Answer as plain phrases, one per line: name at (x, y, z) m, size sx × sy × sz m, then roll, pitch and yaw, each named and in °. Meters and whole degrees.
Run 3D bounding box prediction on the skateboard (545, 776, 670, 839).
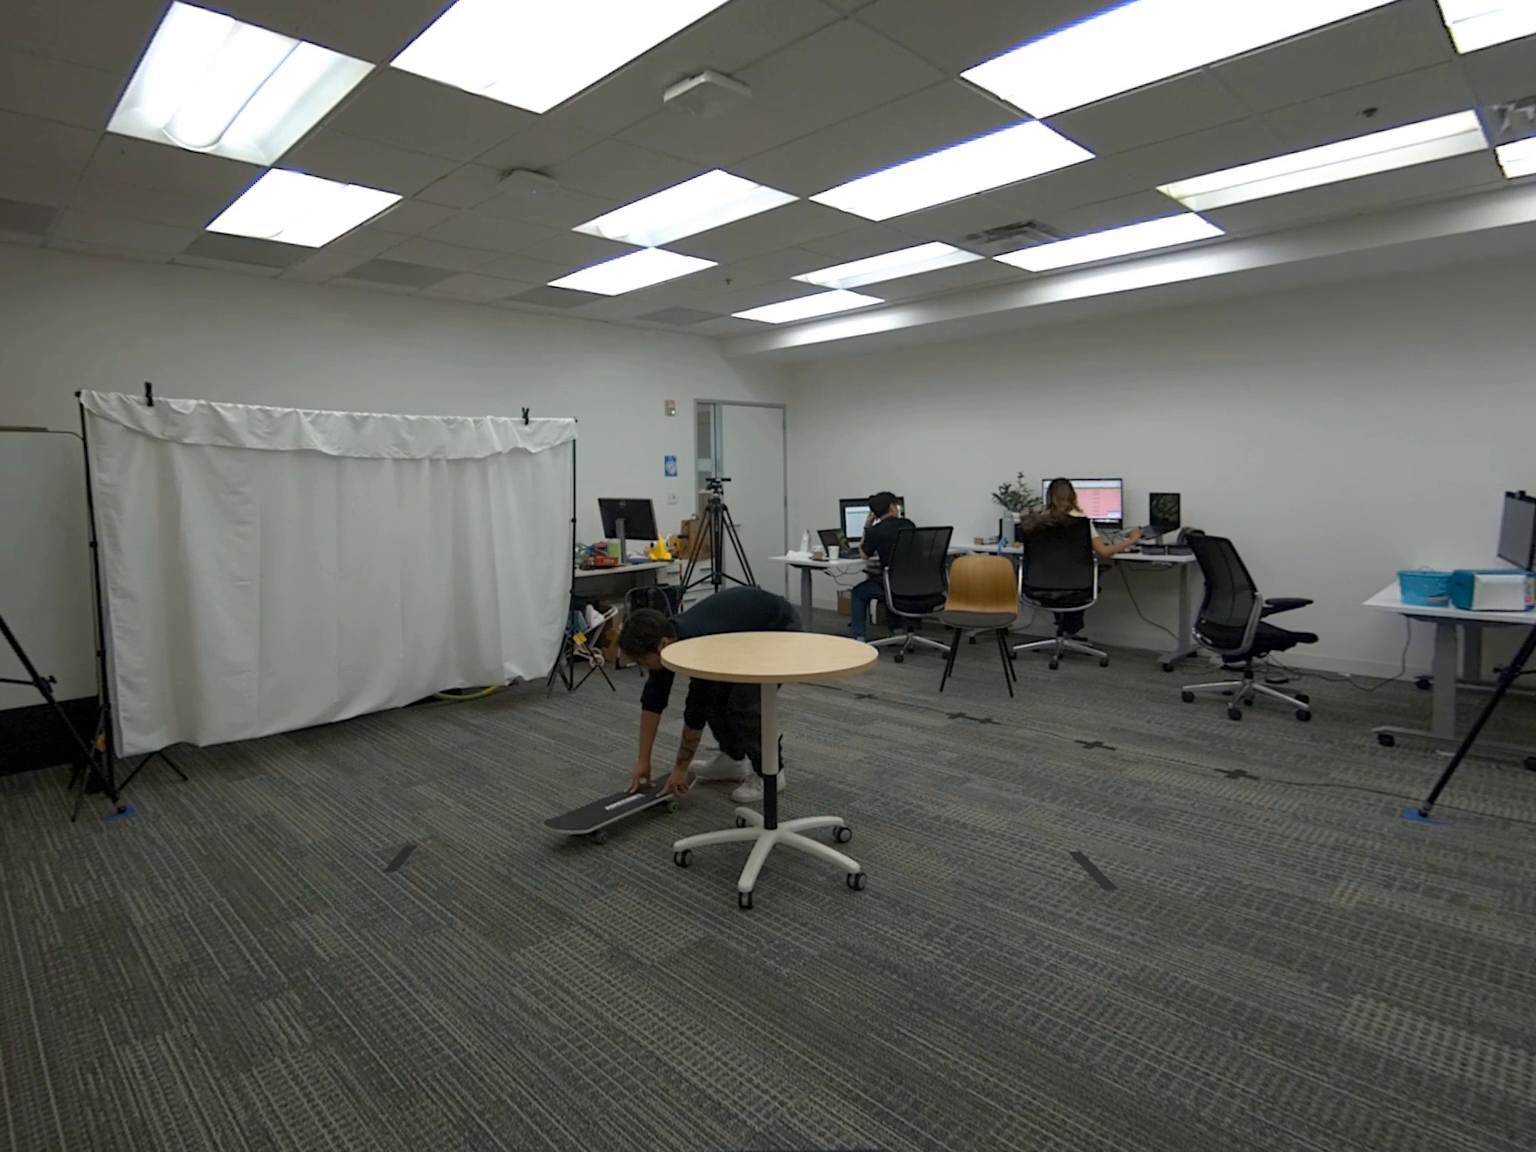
skateboard at (-0.587, 0.955, 3.496) m, size 0.199 × 0.110 × 0.765 m, roll 3°, pitch 7°, yaw 38°
